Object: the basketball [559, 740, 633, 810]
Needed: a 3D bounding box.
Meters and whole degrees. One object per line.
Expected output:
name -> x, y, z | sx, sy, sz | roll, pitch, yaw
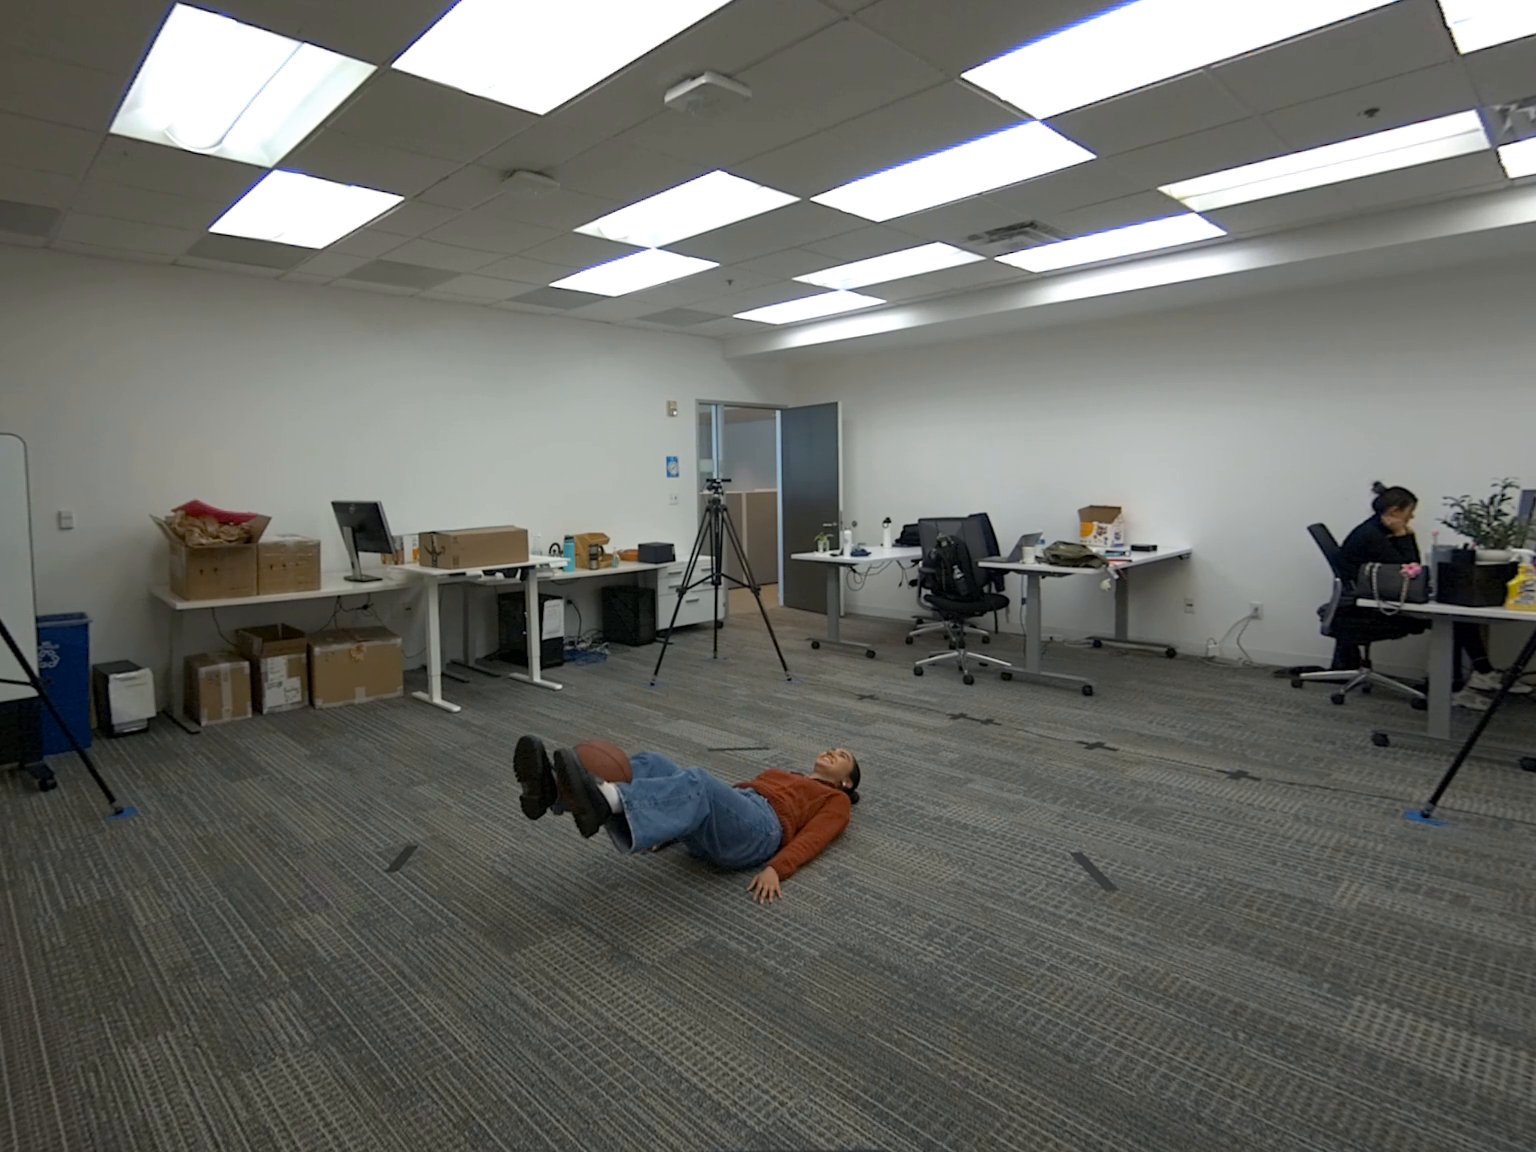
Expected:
basketball -> -0.539, 0.640, 2.694 | 0.236, 0.235, 0.237 | -1, 5, -2
